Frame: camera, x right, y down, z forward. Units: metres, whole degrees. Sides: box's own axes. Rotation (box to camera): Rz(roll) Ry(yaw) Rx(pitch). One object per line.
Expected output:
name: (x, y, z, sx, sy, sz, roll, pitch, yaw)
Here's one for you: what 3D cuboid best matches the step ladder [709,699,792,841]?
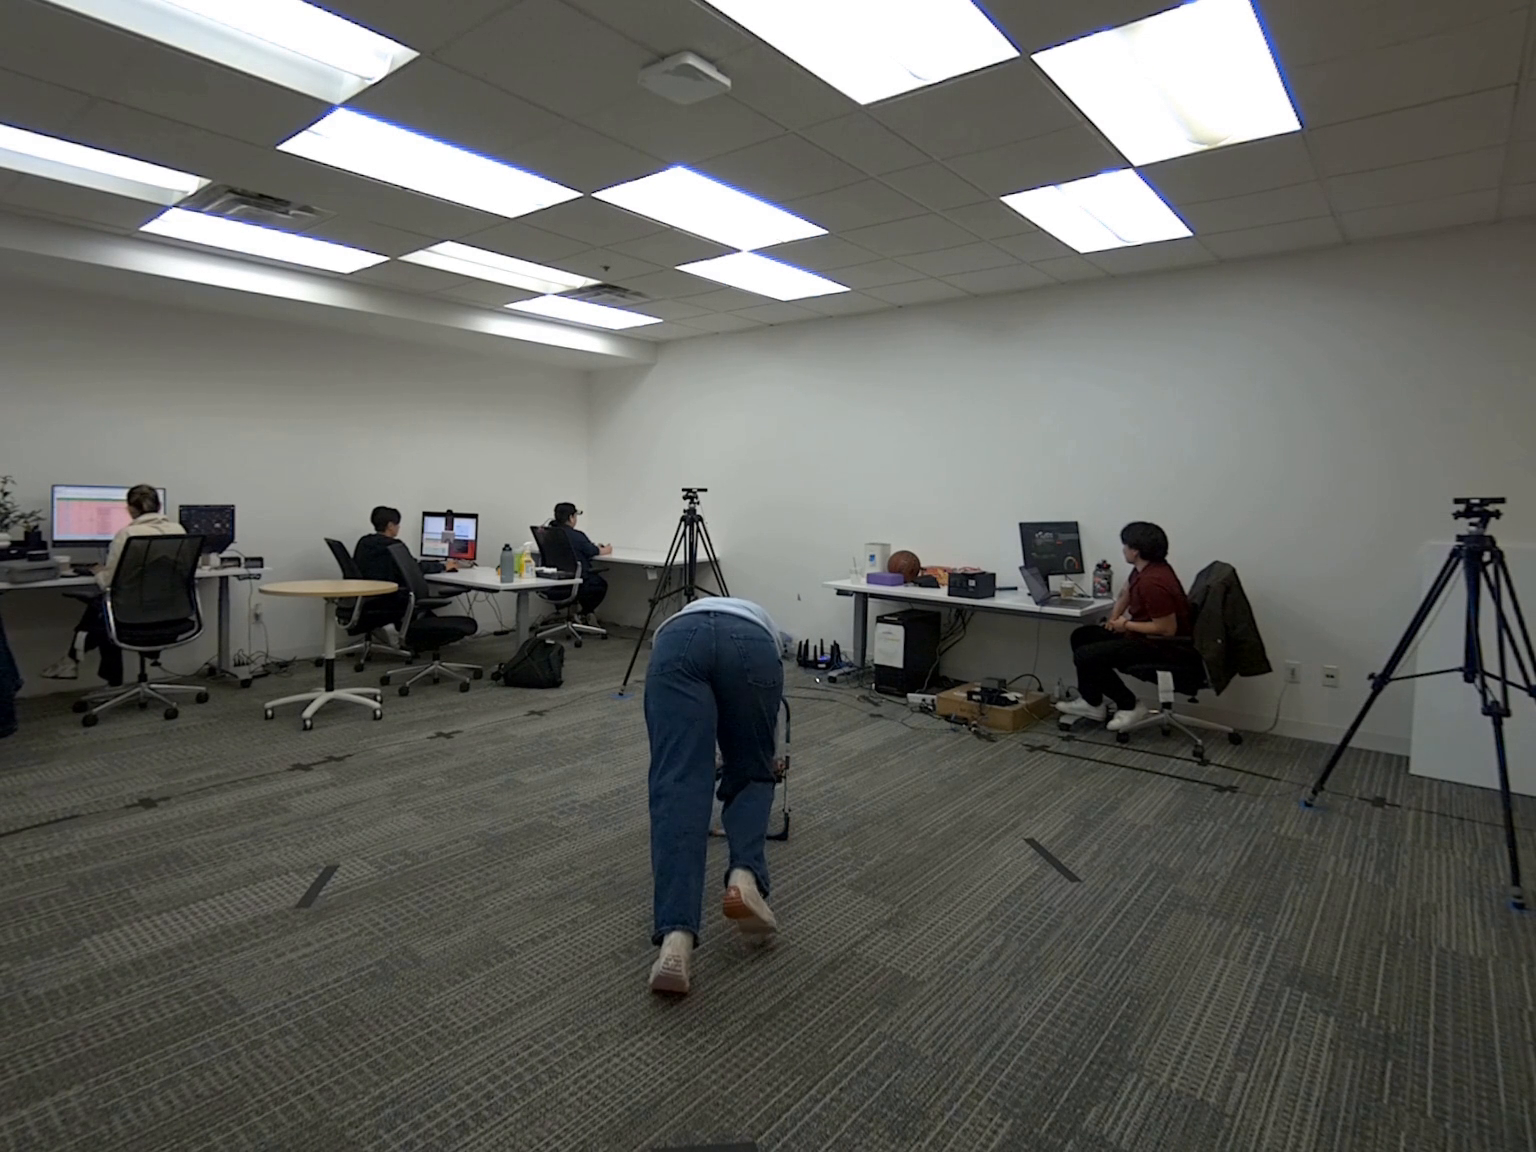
step ladder: (-0.124, 0.723, 3.550, 0.433, 0.604, 0.348, 1, 3, 4)
